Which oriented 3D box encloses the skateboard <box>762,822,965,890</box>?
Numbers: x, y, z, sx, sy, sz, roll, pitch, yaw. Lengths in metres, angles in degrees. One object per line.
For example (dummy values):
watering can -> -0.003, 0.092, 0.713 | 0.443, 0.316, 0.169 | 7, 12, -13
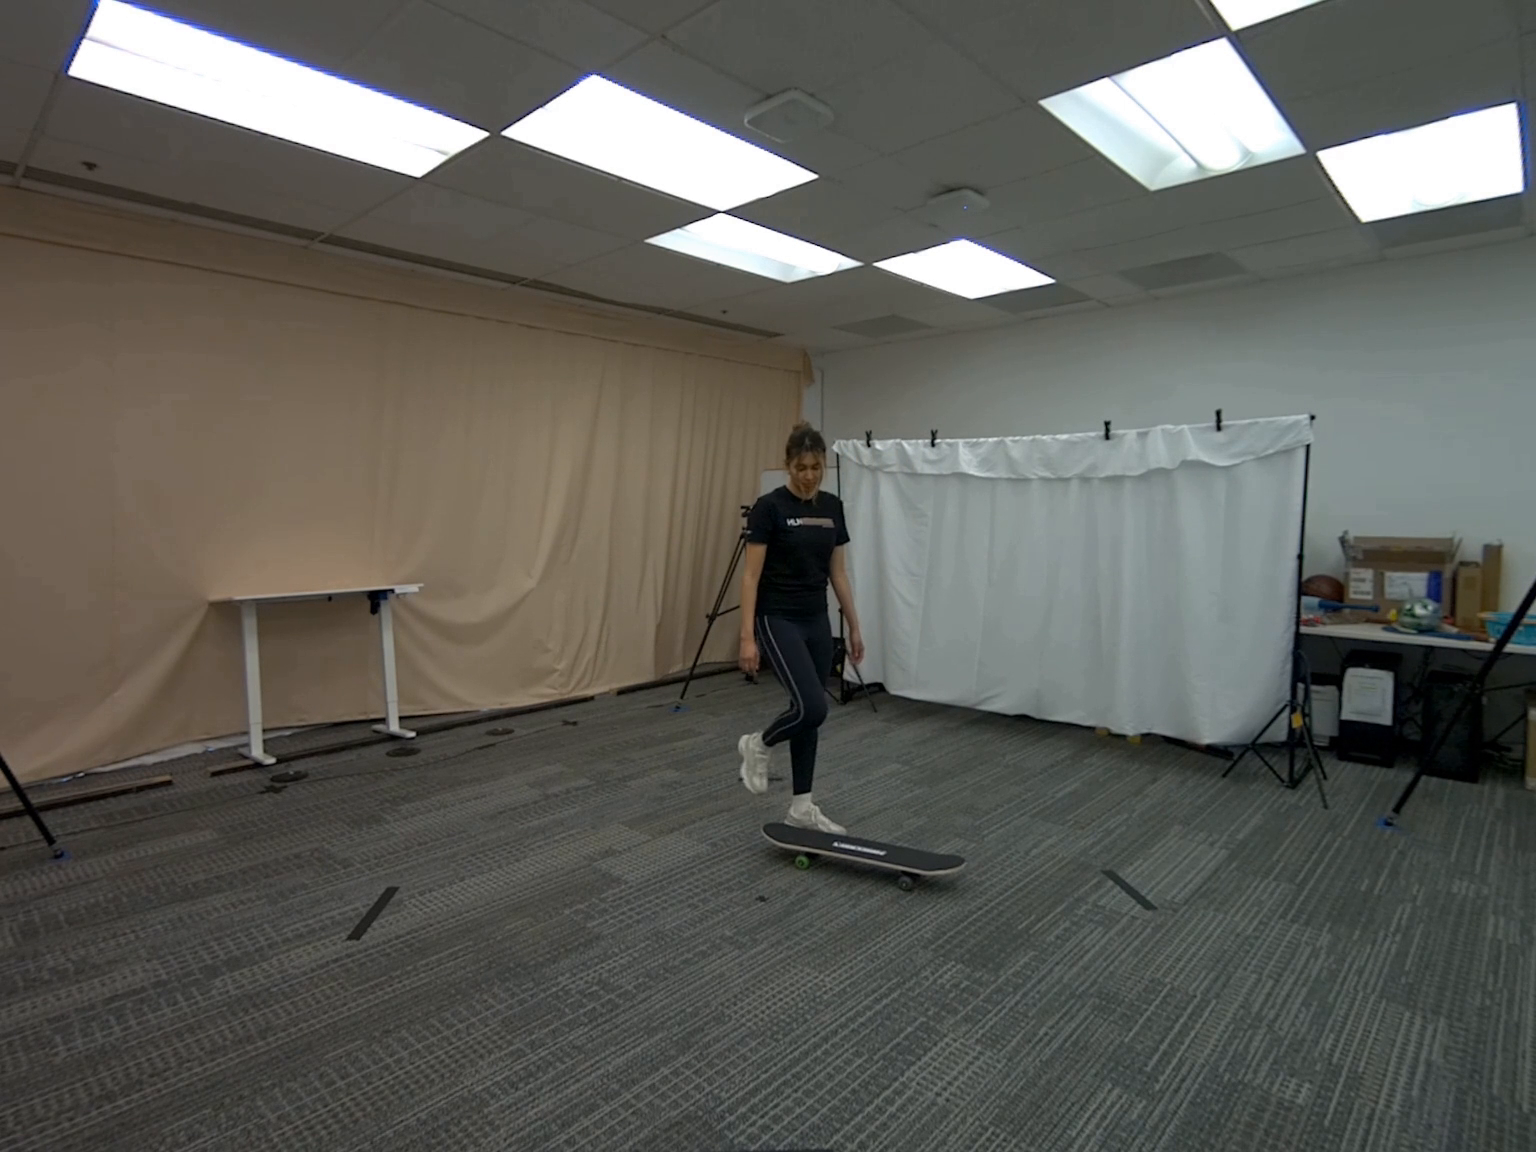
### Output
skateboard -> 0.352, 1.066, 3.201 | 0.806, 0.110, 0.189 | 2, 4, 25
